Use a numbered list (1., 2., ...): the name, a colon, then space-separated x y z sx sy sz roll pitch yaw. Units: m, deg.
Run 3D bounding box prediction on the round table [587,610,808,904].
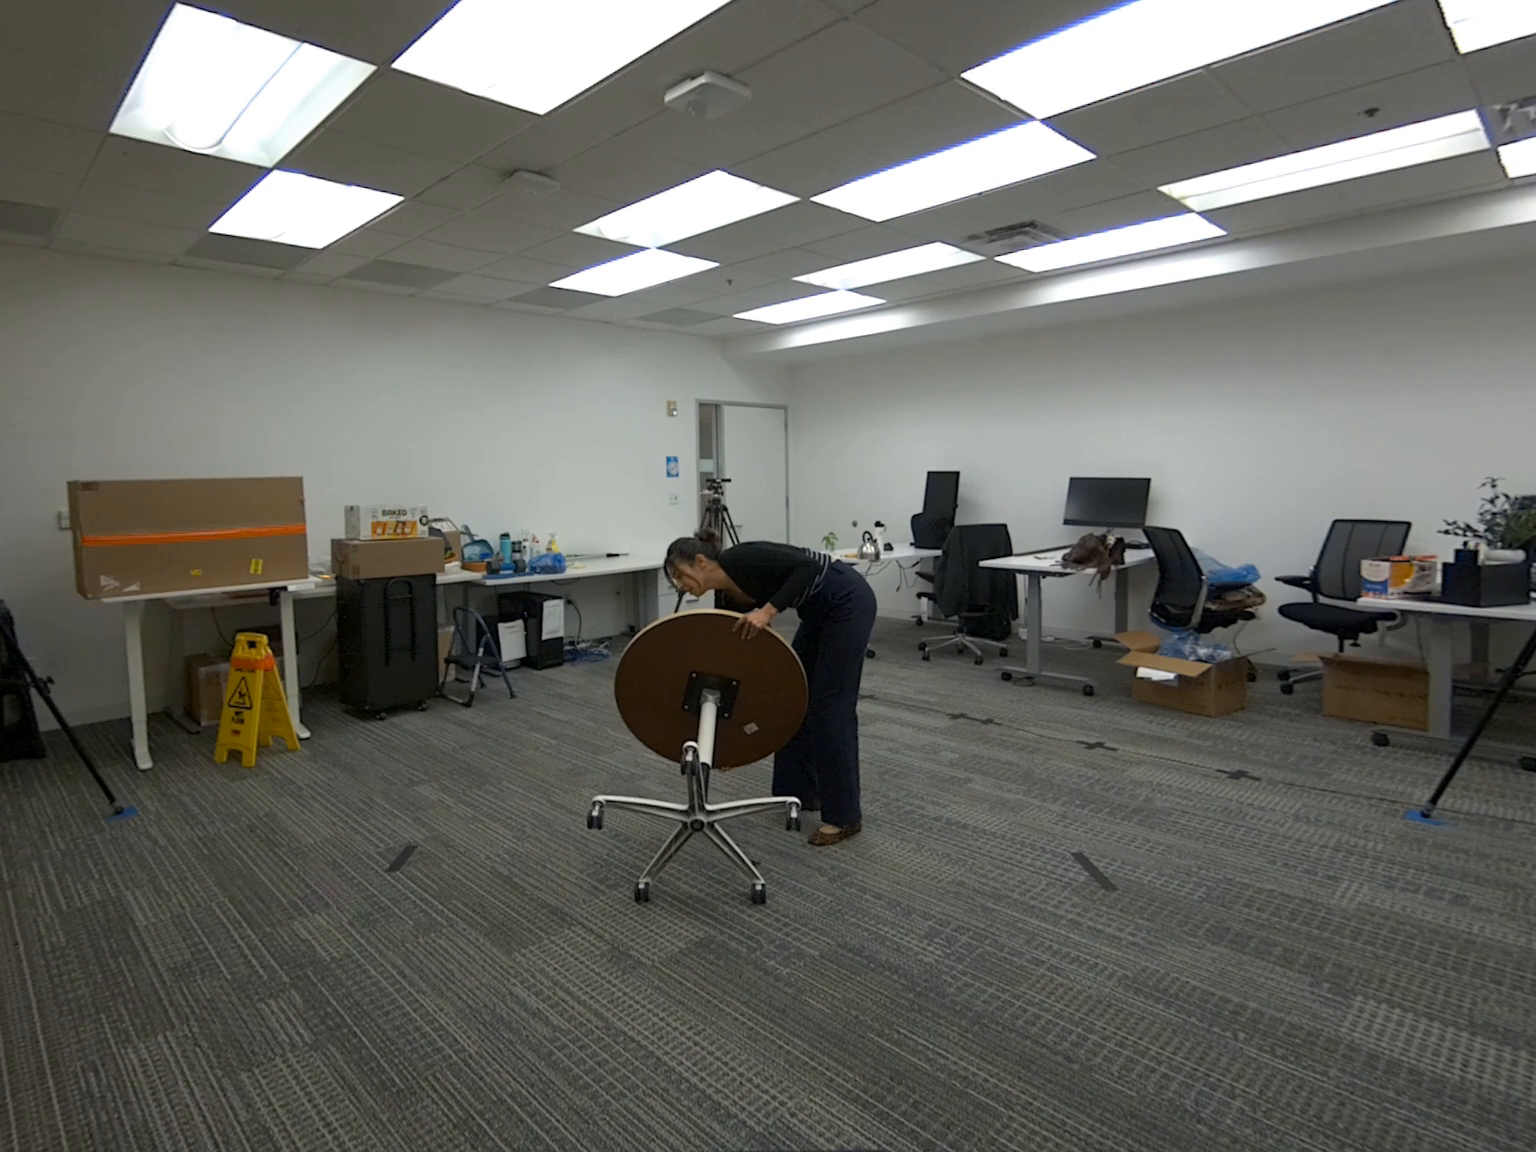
1. round table: -0.222 0.655 3.046 0.766 0.746 0.811 -1 29 2
